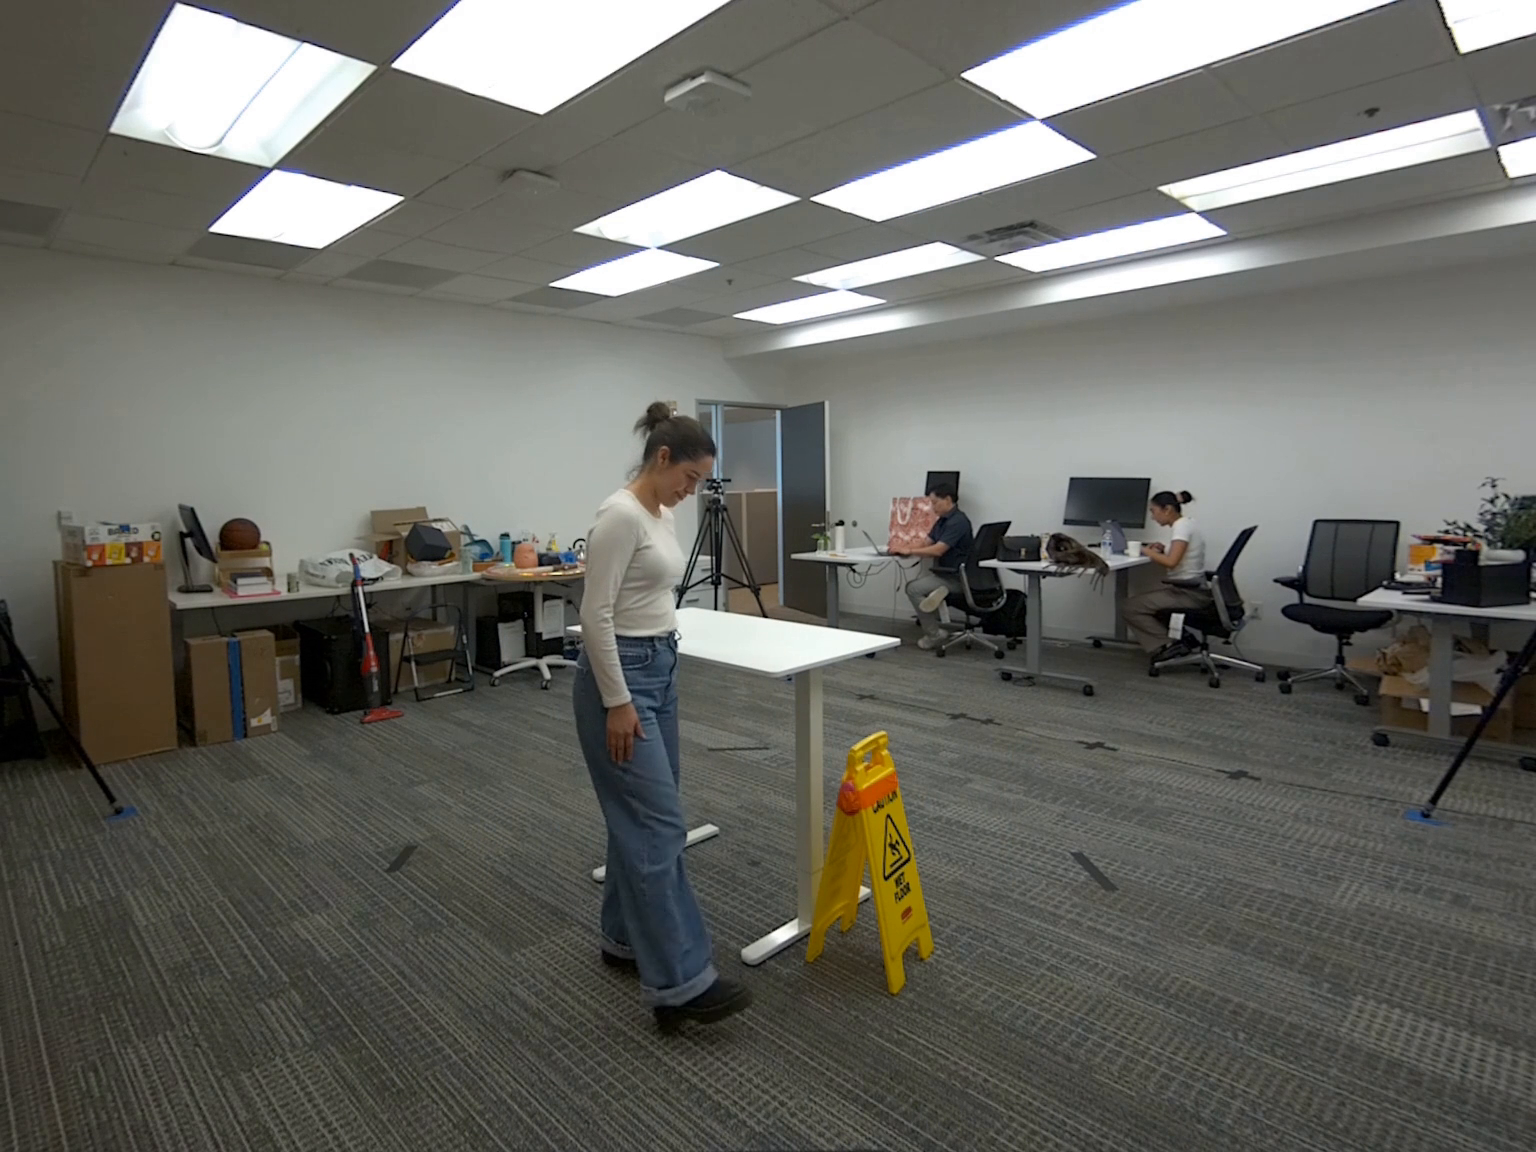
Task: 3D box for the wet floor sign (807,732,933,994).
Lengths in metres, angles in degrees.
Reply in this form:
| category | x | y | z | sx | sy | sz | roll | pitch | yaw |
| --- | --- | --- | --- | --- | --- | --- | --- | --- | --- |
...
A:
| category | x | y | z | sx | sy | sz | roll | pitch | yaw |
| --- | --- | --- | --- | --- | --- | --- | --- | --- | --- |
| wet floor sign | 0.298 | 0.787 | 2.466 | 0.298 | 0.643 | 0.275 | 1 | 5 | 38 |
